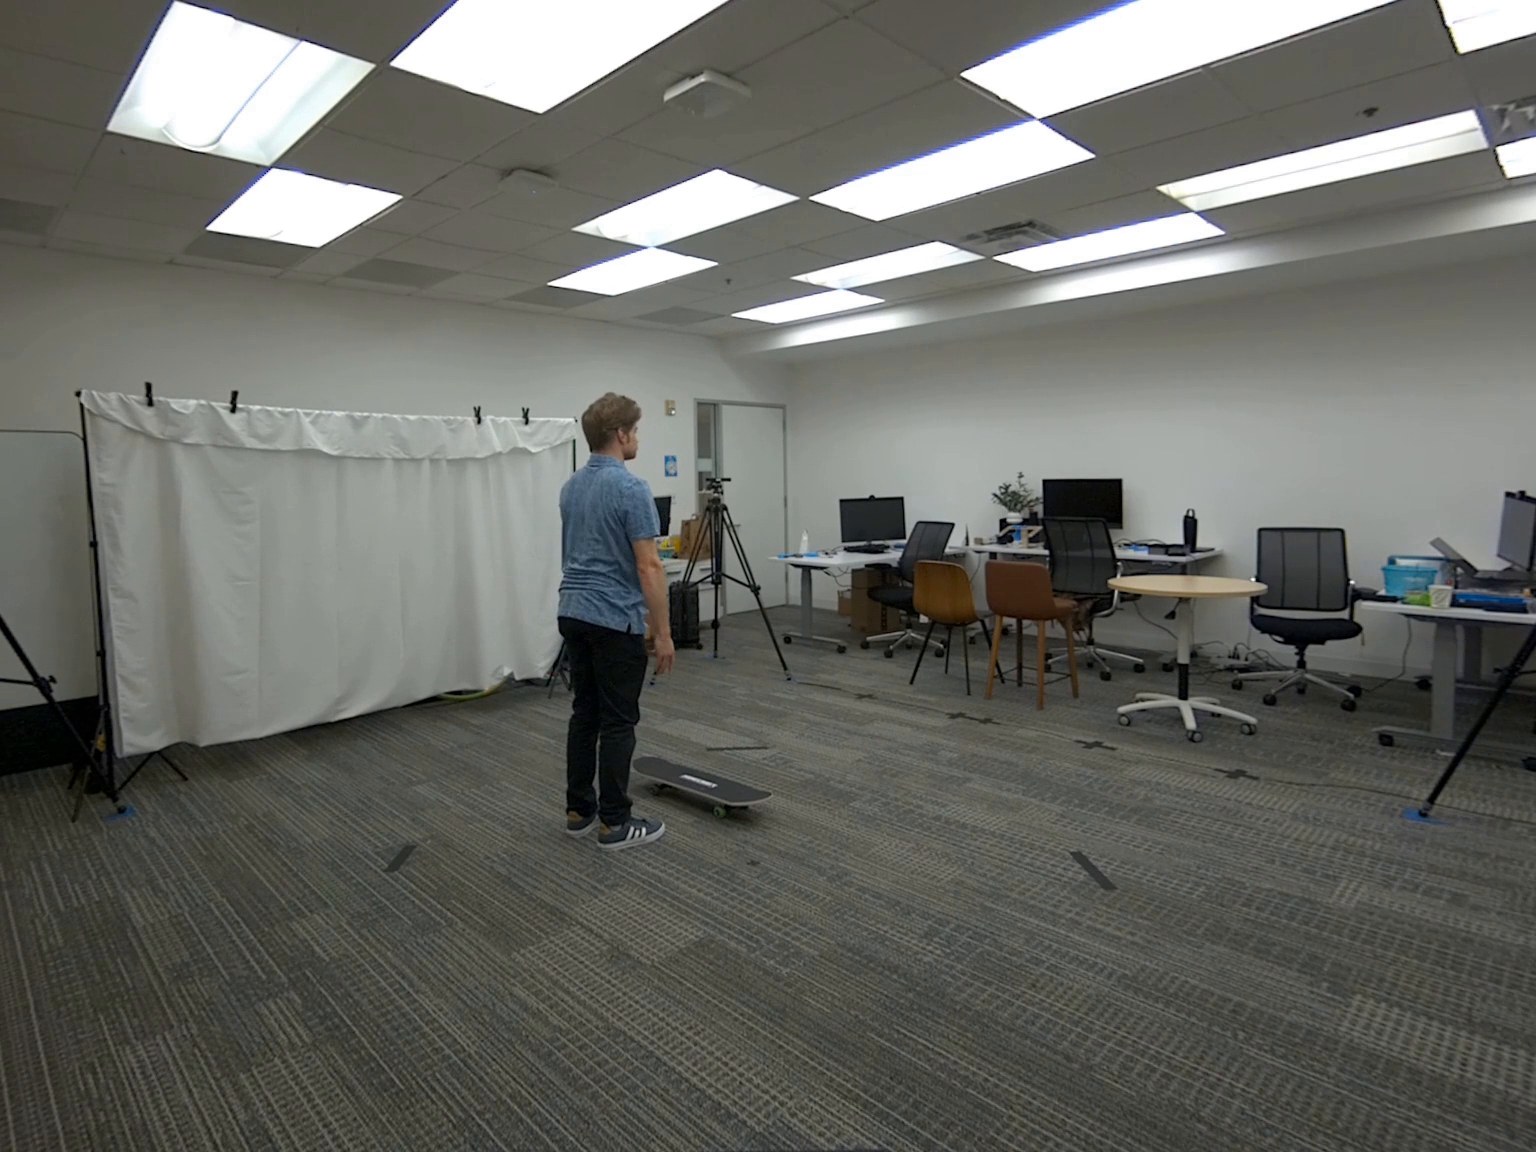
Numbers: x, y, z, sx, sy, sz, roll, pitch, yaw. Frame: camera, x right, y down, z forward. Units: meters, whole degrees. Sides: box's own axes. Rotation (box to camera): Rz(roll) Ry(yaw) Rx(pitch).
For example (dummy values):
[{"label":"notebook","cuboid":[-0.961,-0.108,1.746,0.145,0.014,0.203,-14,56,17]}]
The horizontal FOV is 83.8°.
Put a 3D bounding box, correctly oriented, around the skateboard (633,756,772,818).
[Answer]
[{"label":"skateboard","cuboid":[-0.300,0.923,3.708,0.810,0.110,0.188,5,8,42]}]
